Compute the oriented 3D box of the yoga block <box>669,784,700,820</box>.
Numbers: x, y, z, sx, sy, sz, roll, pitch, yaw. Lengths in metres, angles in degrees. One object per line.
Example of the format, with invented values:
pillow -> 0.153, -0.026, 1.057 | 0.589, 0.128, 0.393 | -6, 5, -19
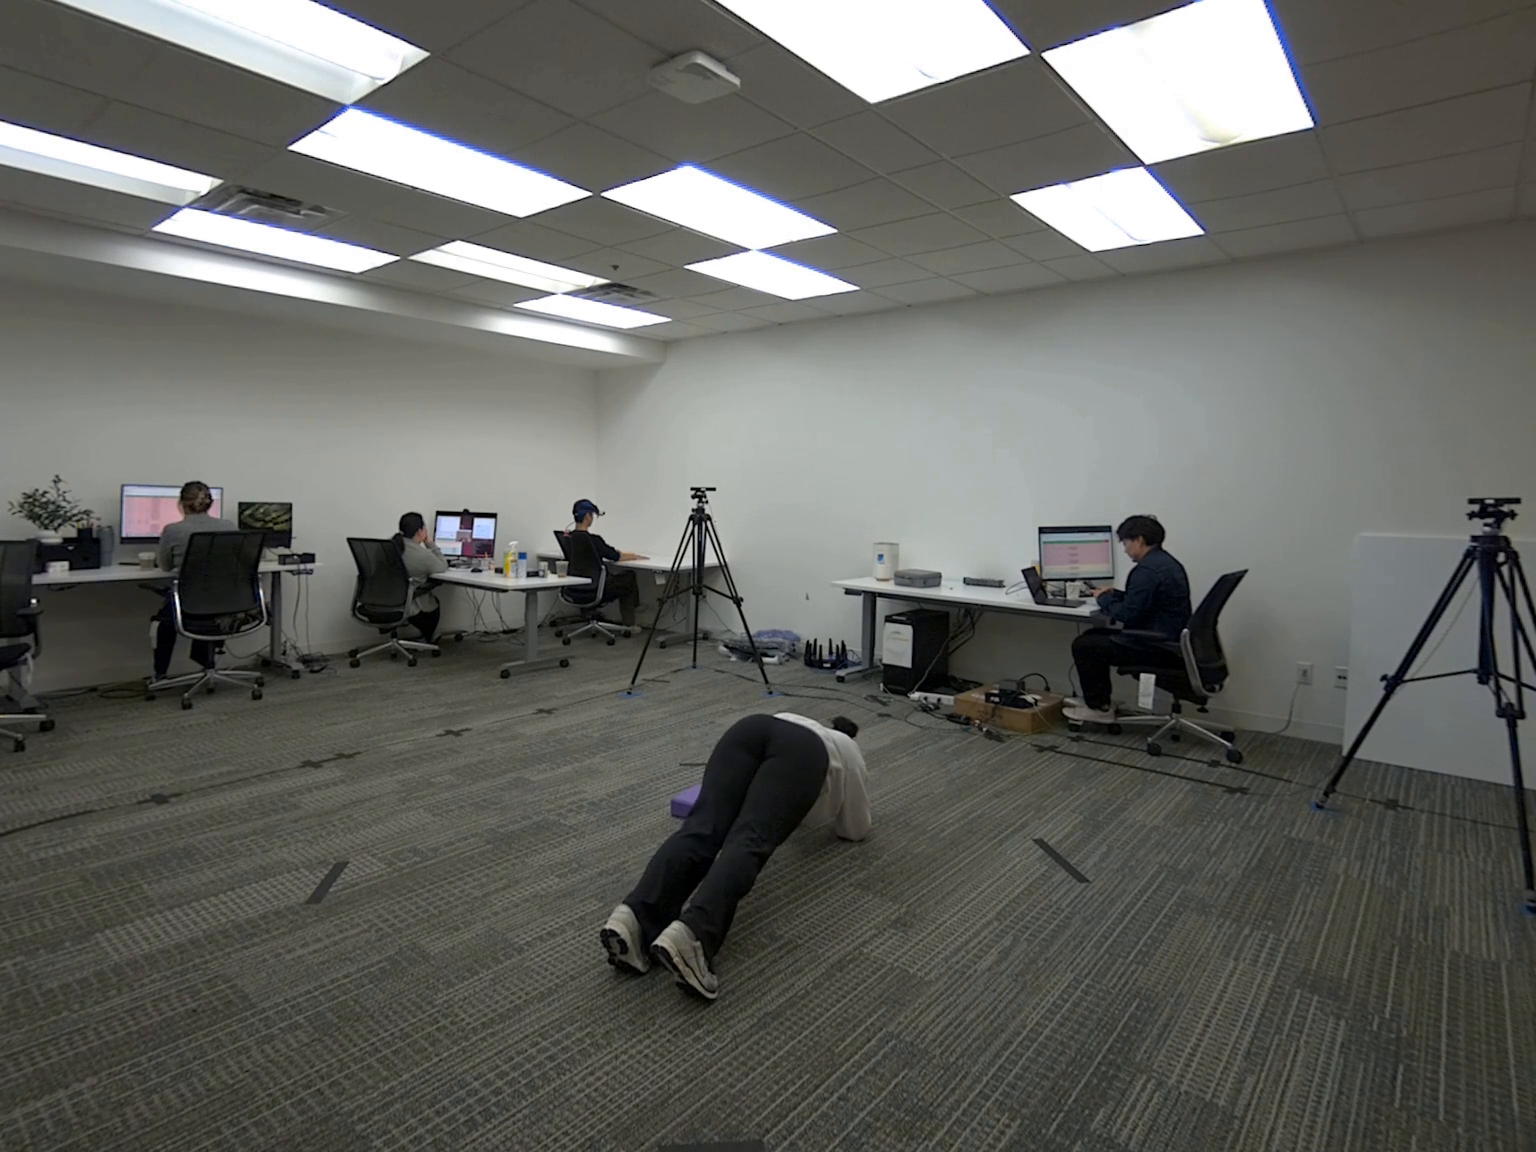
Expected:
yoga block -> -0.308, 0.964, 3.659 | 0.153, 0.076, 0.224 | 2, 6, 30
